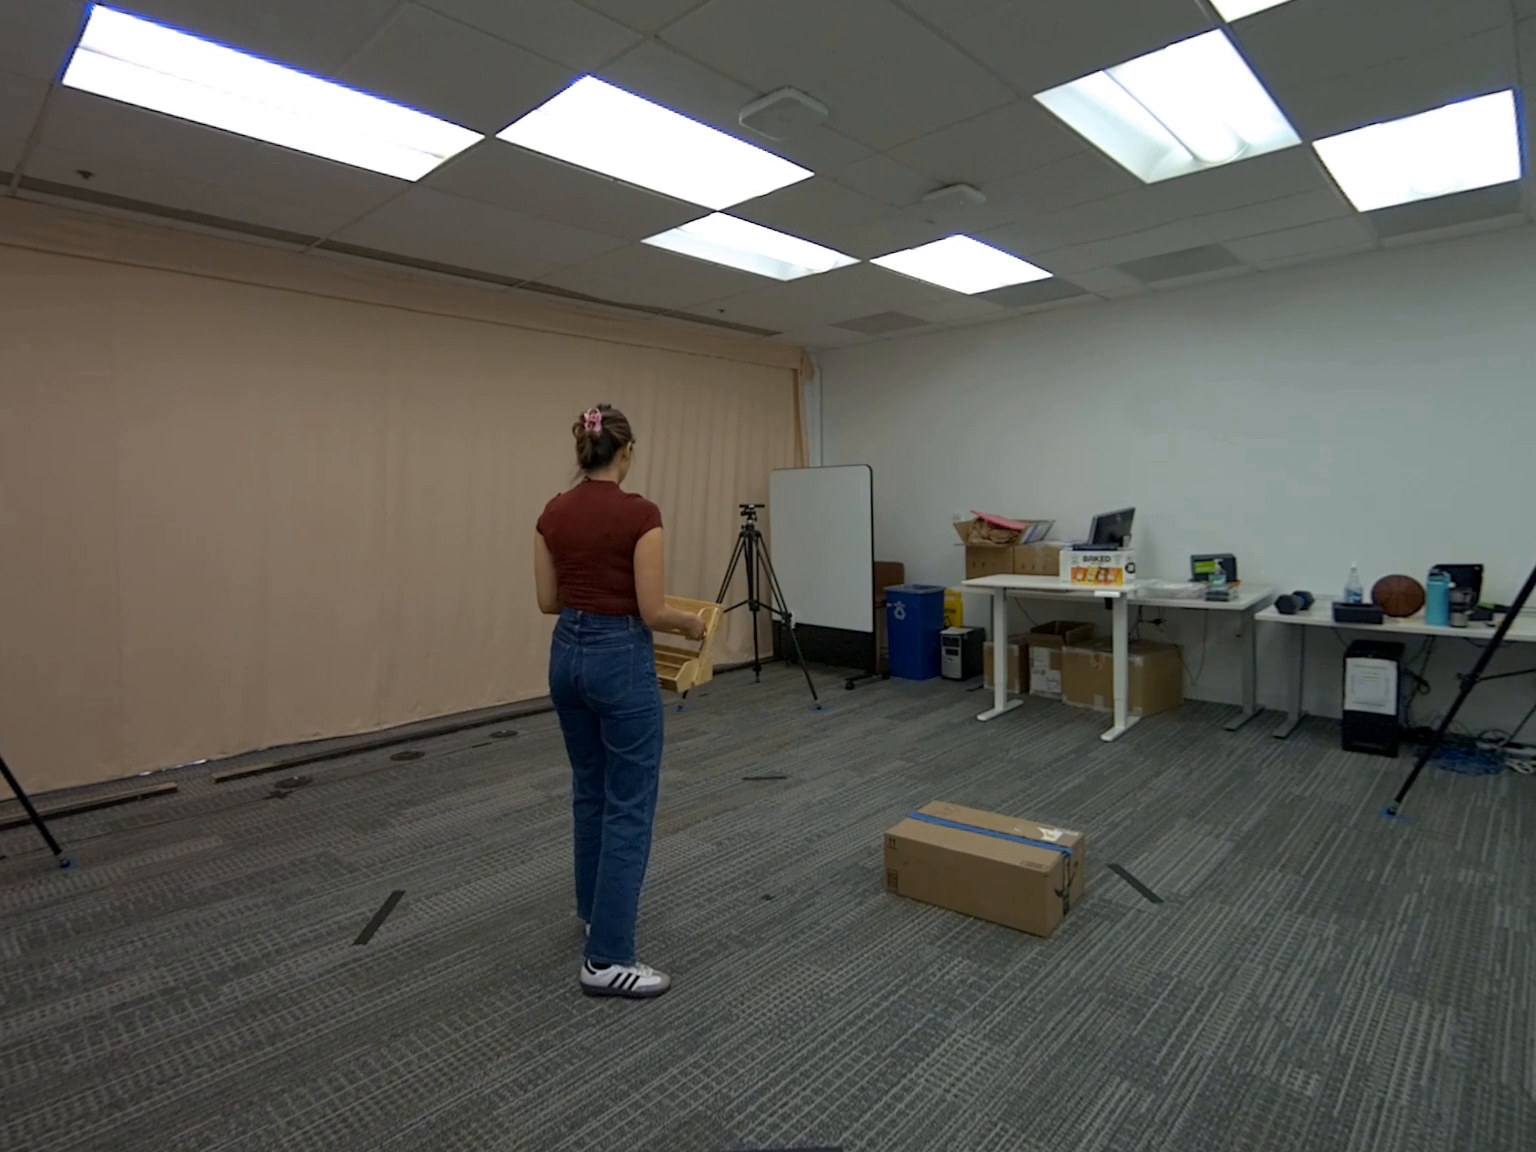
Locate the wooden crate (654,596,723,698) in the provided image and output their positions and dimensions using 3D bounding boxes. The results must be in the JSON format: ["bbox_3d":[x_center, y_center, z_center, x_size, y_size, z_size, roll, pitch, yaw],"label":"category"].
[{"bbox_3d":[-0.365,0.215,2.901,0.333,0.272,0.294,8,6,26],"label":"wooden crate"}]
